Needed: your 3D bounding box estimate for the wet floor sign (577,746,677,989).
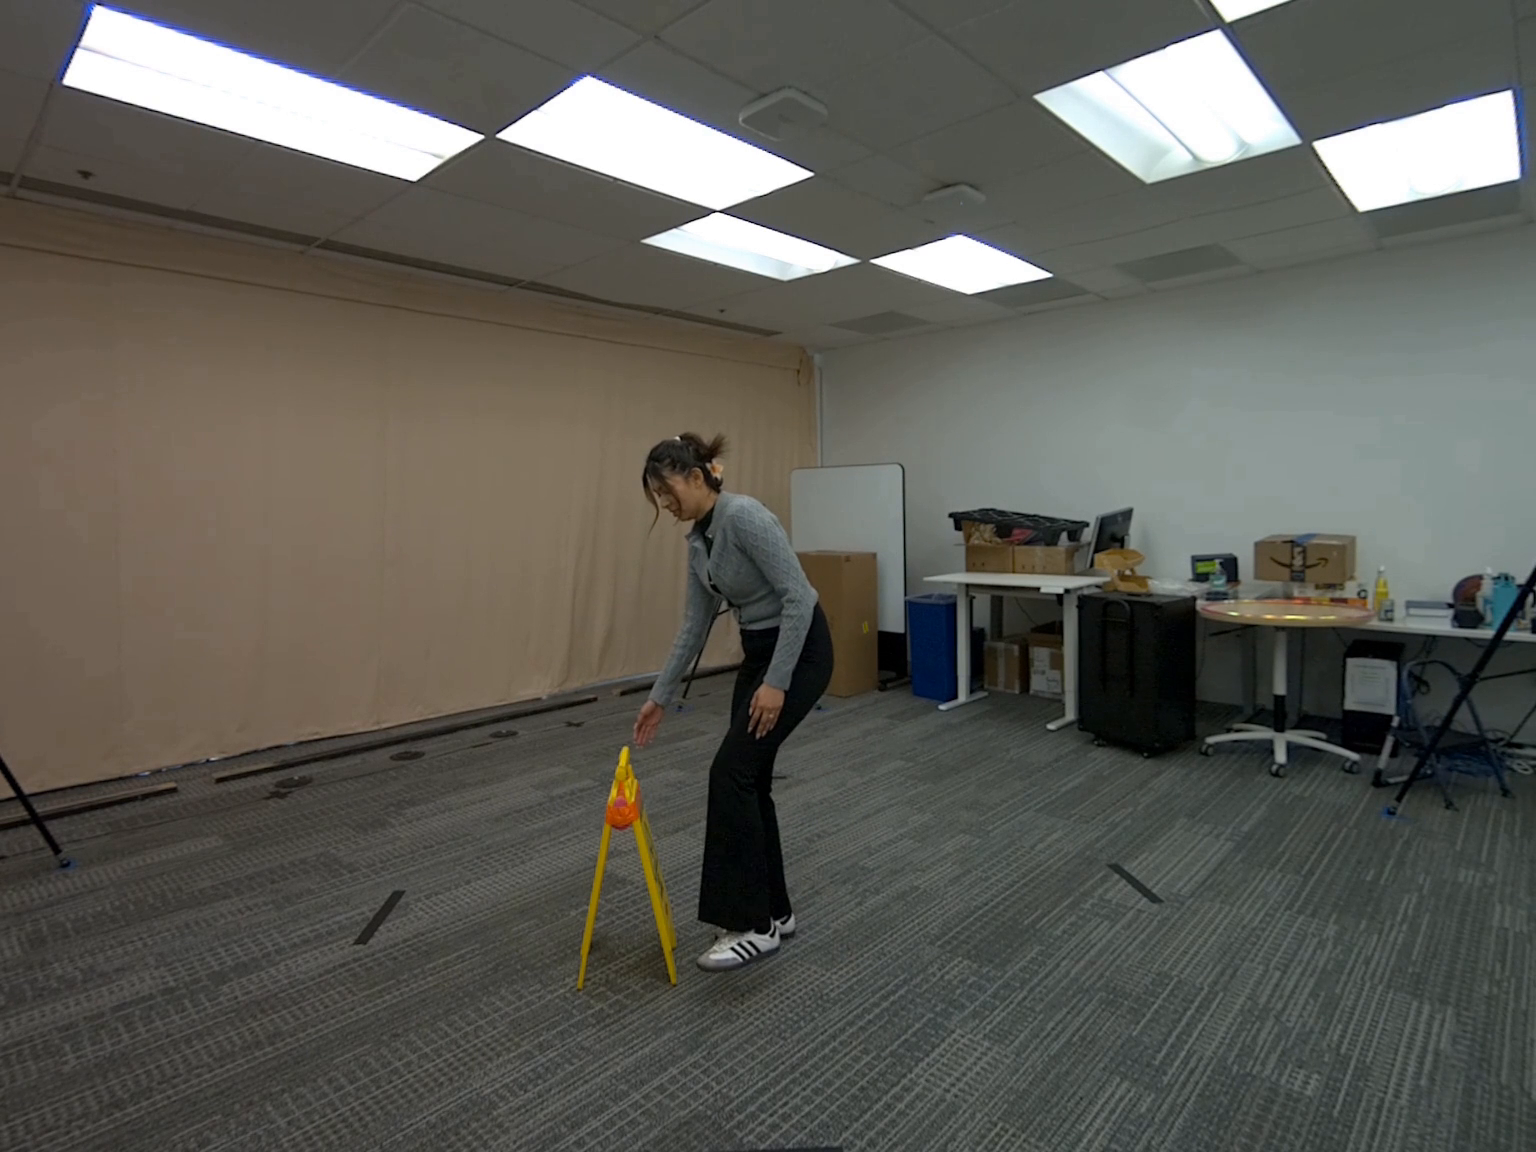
[{"bbox_3d":[-0.436,0.865,2.558,0.288,0.645,0.284,-3,2,-5],"label":"wet floor sign"}]
